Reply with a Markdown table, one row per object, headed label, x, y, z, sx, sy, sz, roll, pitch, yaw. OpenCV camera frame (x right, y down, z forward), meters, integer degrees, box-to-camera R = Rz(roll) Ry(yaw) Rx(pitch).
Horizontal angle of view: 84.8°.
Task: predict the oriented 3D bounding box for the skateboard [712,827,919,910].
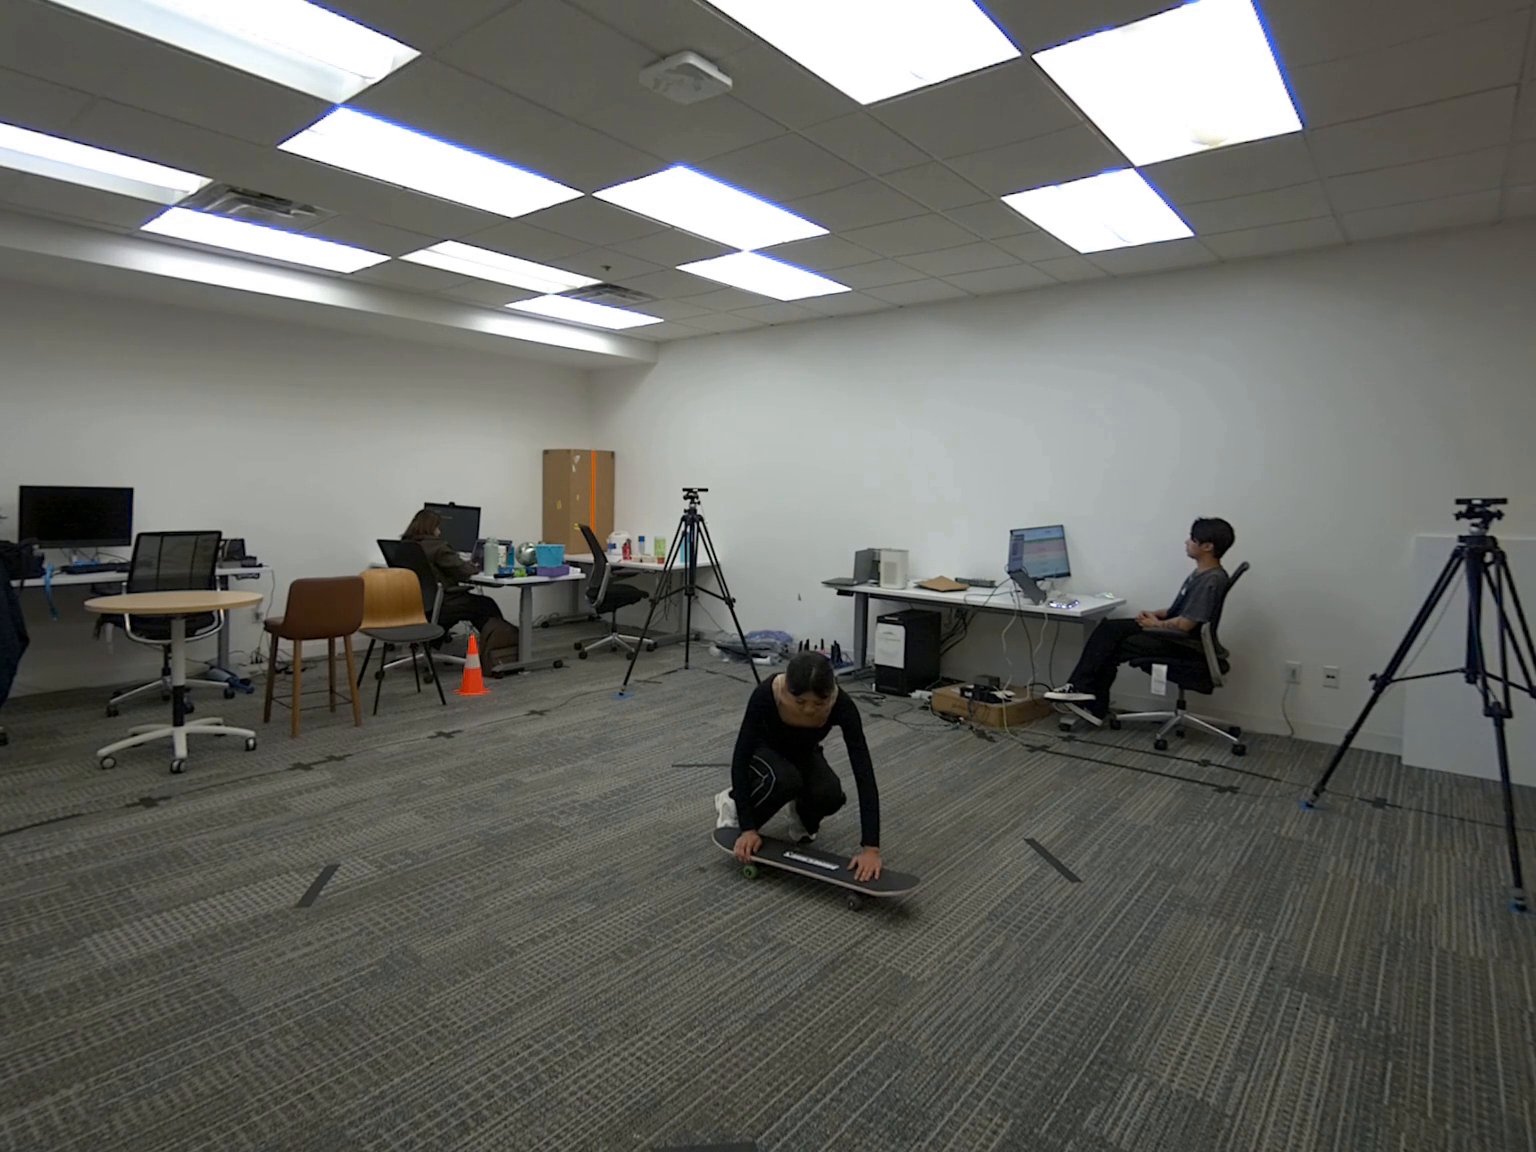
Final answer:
| label | x | y | z | sx | sy | sz | roll | pitch | yaw |
| --- | --- | --- | --- | --- | --- | --- | --- | --- | --- |
| skateboard | 0.134 | 1.025 | 3.006 | 0.808 | 0.110 | 0.188 | 5 | 6 | 29 |
